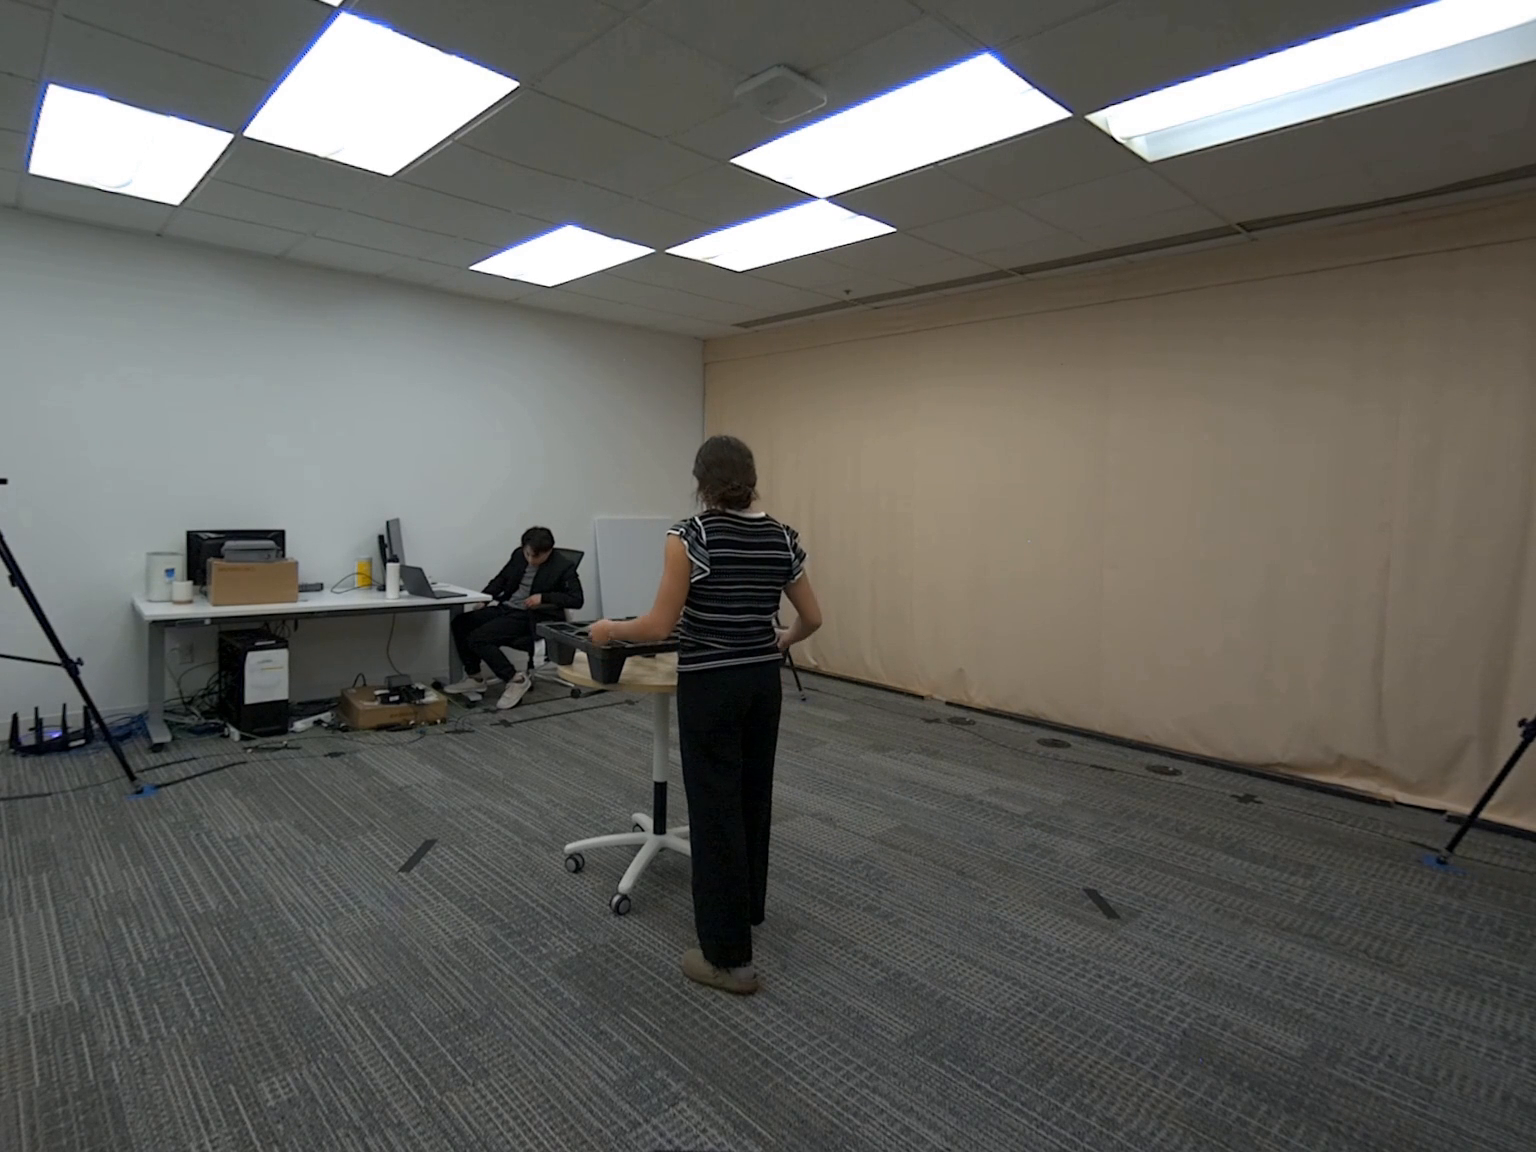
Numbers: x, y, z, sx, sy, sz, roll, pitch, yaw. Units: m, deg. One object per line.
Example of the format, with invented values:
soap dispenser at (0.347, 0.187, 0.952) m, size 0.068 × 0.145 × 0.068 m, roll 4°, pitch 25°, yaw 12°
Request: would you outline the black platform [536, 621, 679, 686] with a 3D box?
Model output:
black platform at (-0.379, 0.262, 3.086) m, size 0.788 × 0.143 × 0.619 m, roll -2°, pitch 5°, yaw -34°
